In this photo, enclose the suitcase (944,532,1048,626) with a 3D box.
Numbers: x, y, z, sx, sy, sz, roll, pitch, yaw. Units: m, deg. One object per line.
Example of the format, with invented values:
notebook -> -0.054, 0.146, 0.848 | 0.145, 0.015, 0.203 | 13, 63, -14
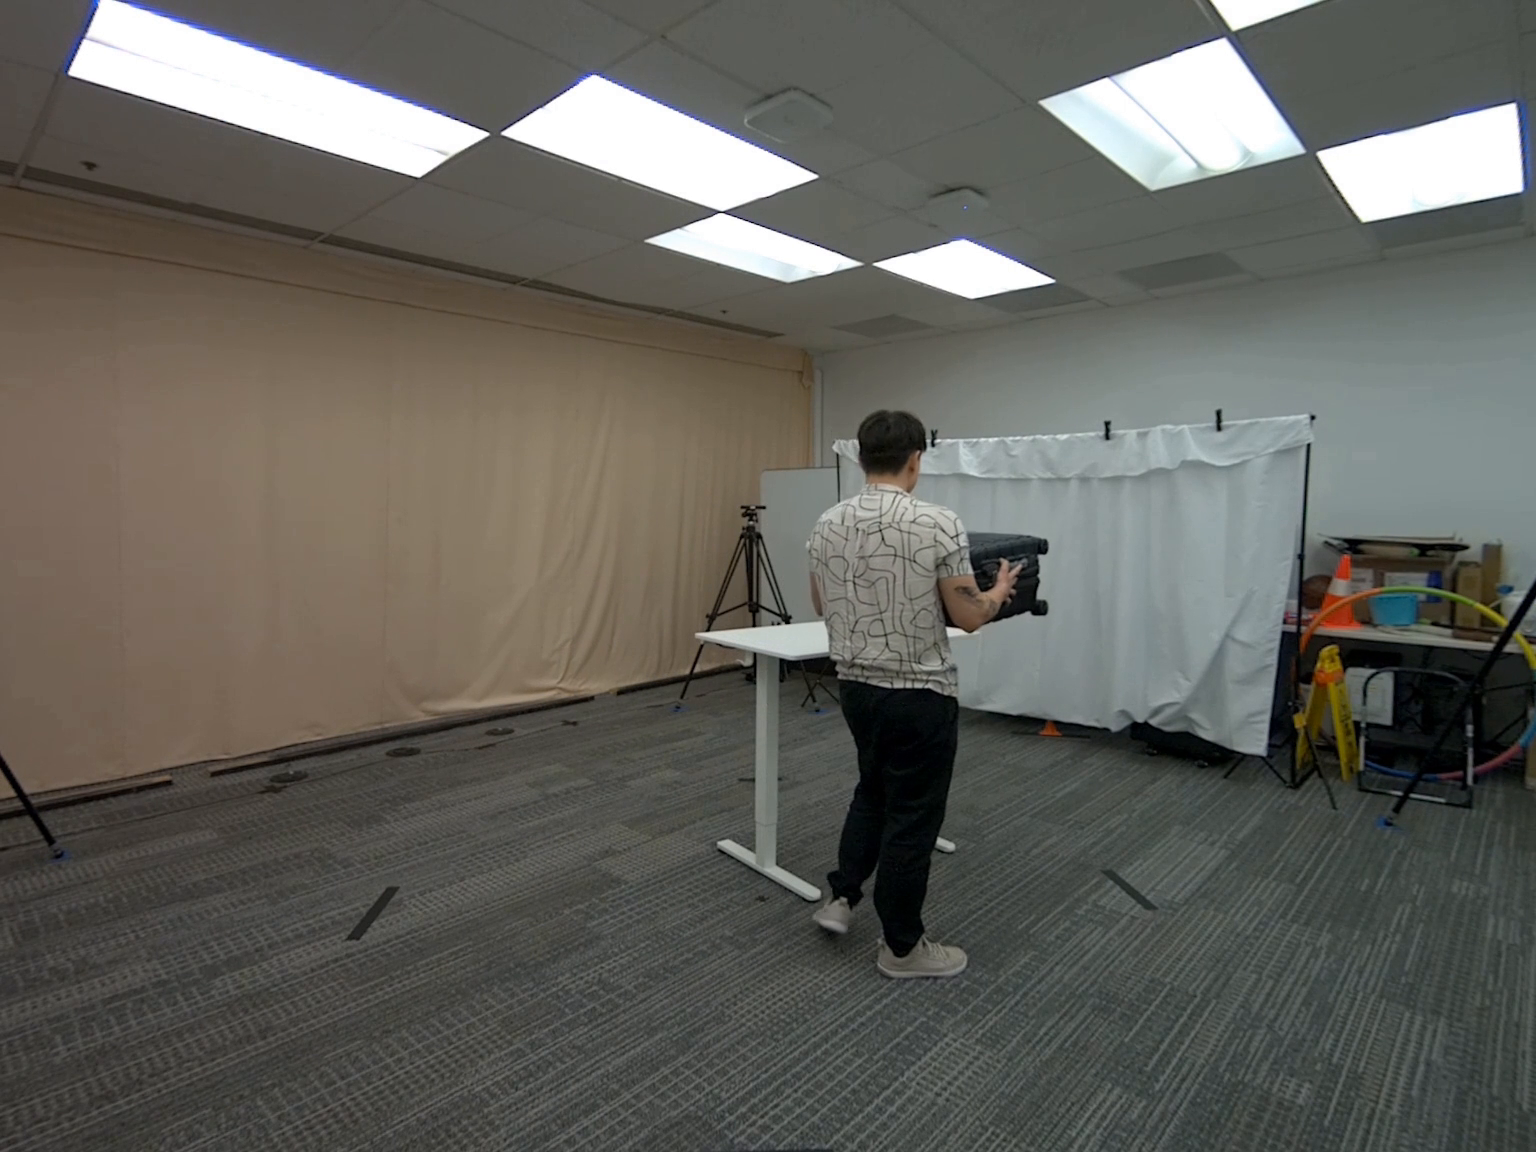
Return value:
suitcase -> 0.654, -0.001, 2.750 | 0.388, 0.247, 0.533 | 6, 9, 42
